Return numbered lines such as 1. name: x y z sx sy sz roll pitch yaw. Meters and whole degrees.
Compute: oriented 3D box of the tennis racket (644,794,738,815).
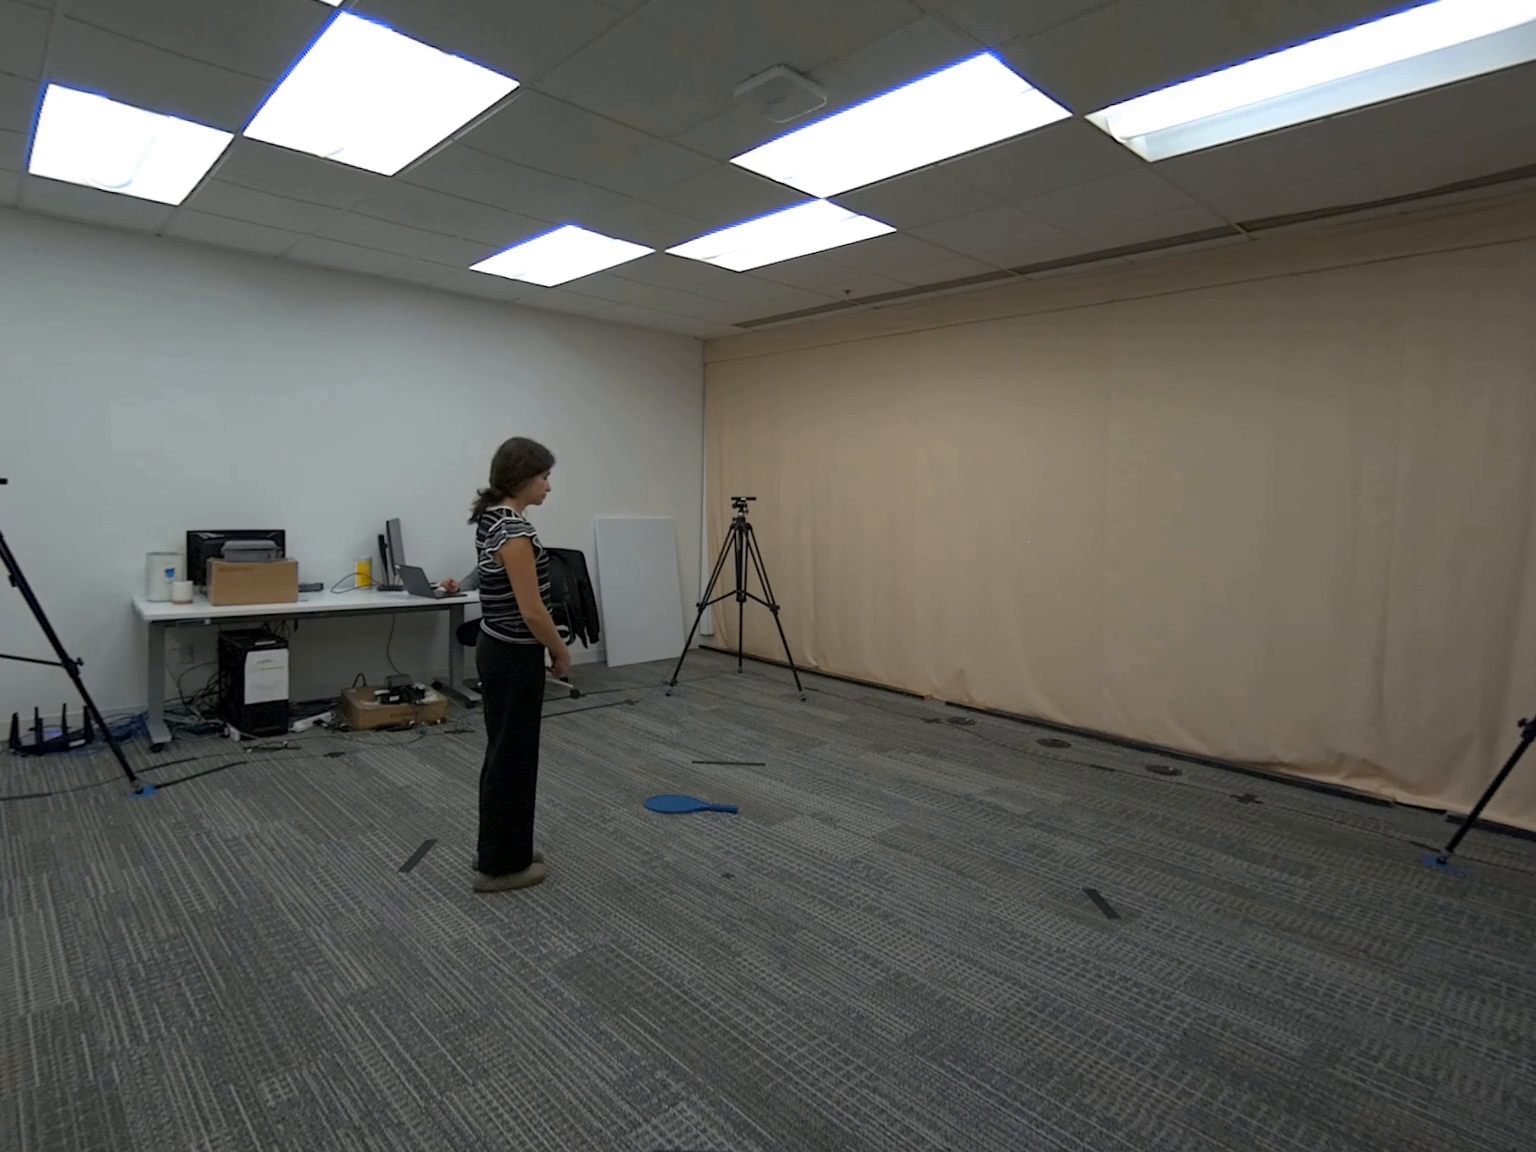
1. tennis racket: -0.354 1.030 3.785 0.437 0.031 0.212 1 5 11
